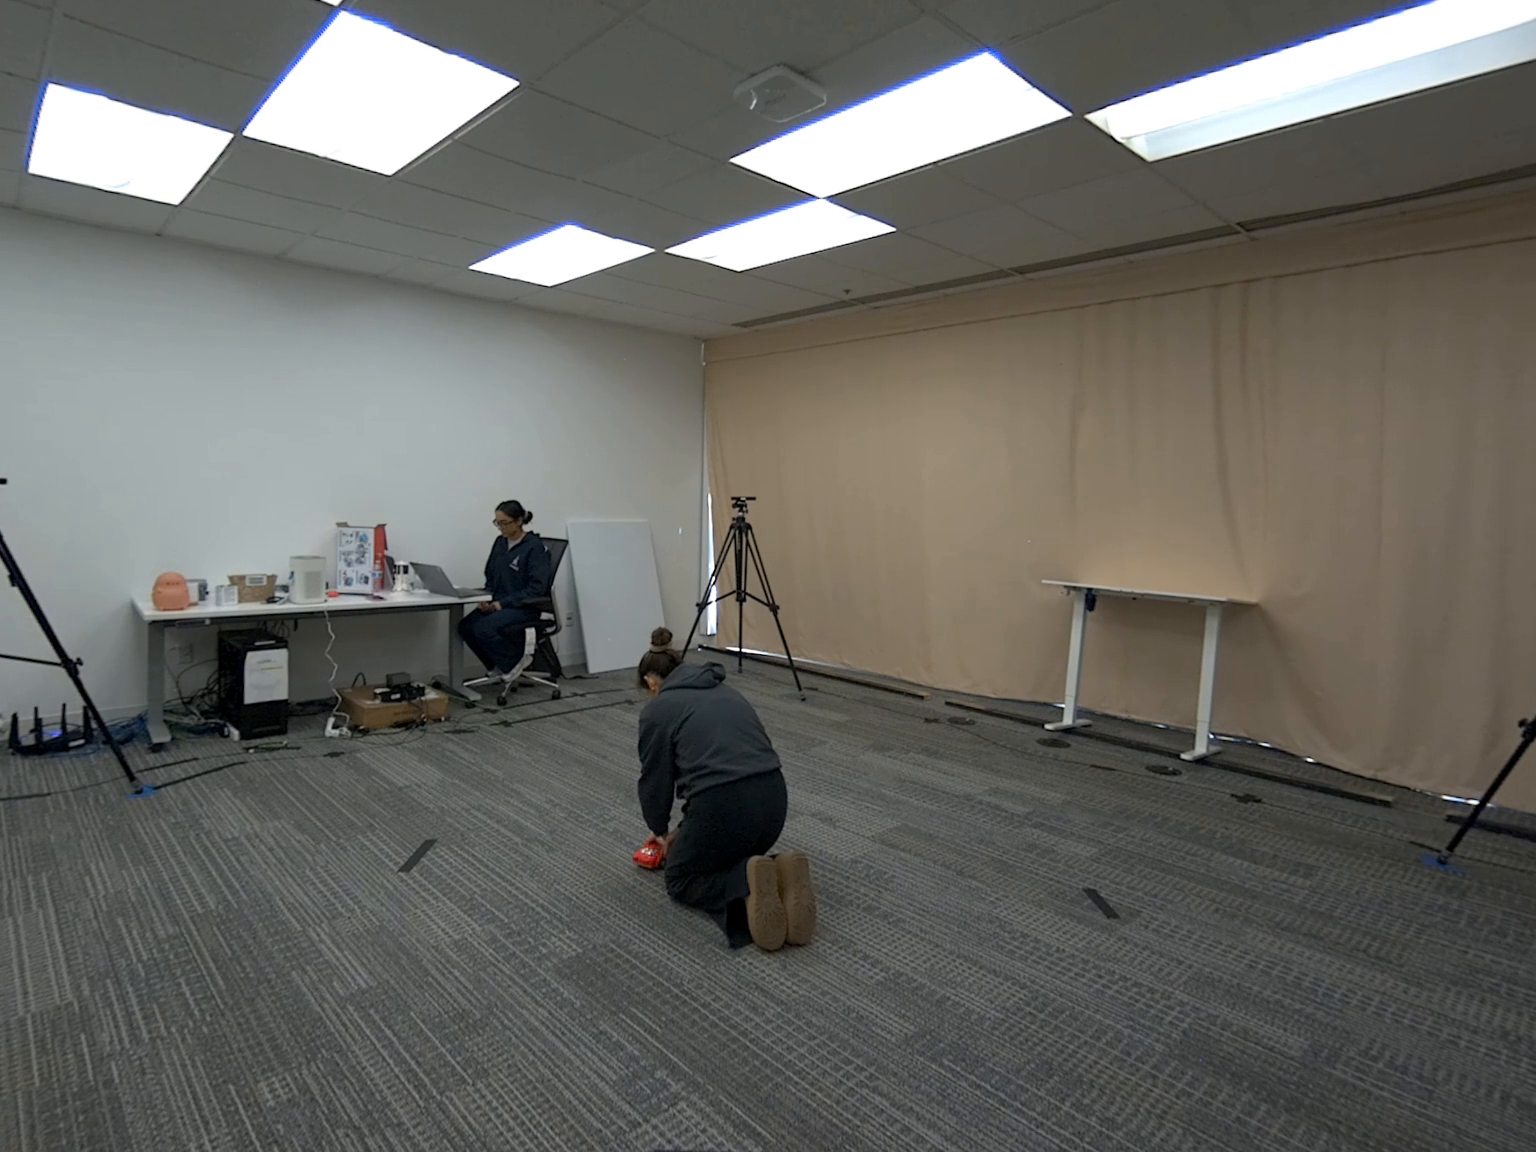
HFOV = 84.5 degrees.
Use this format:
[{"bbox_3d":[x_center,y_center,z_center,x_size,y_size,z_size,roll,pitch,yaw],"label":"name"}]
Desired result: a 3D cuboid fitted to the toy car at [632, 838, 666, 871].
[{"bbox_3d":[-0.425,1.057,3.218,0.133,0.083,0.248,4,-4,29],"label":"toy car"}]
